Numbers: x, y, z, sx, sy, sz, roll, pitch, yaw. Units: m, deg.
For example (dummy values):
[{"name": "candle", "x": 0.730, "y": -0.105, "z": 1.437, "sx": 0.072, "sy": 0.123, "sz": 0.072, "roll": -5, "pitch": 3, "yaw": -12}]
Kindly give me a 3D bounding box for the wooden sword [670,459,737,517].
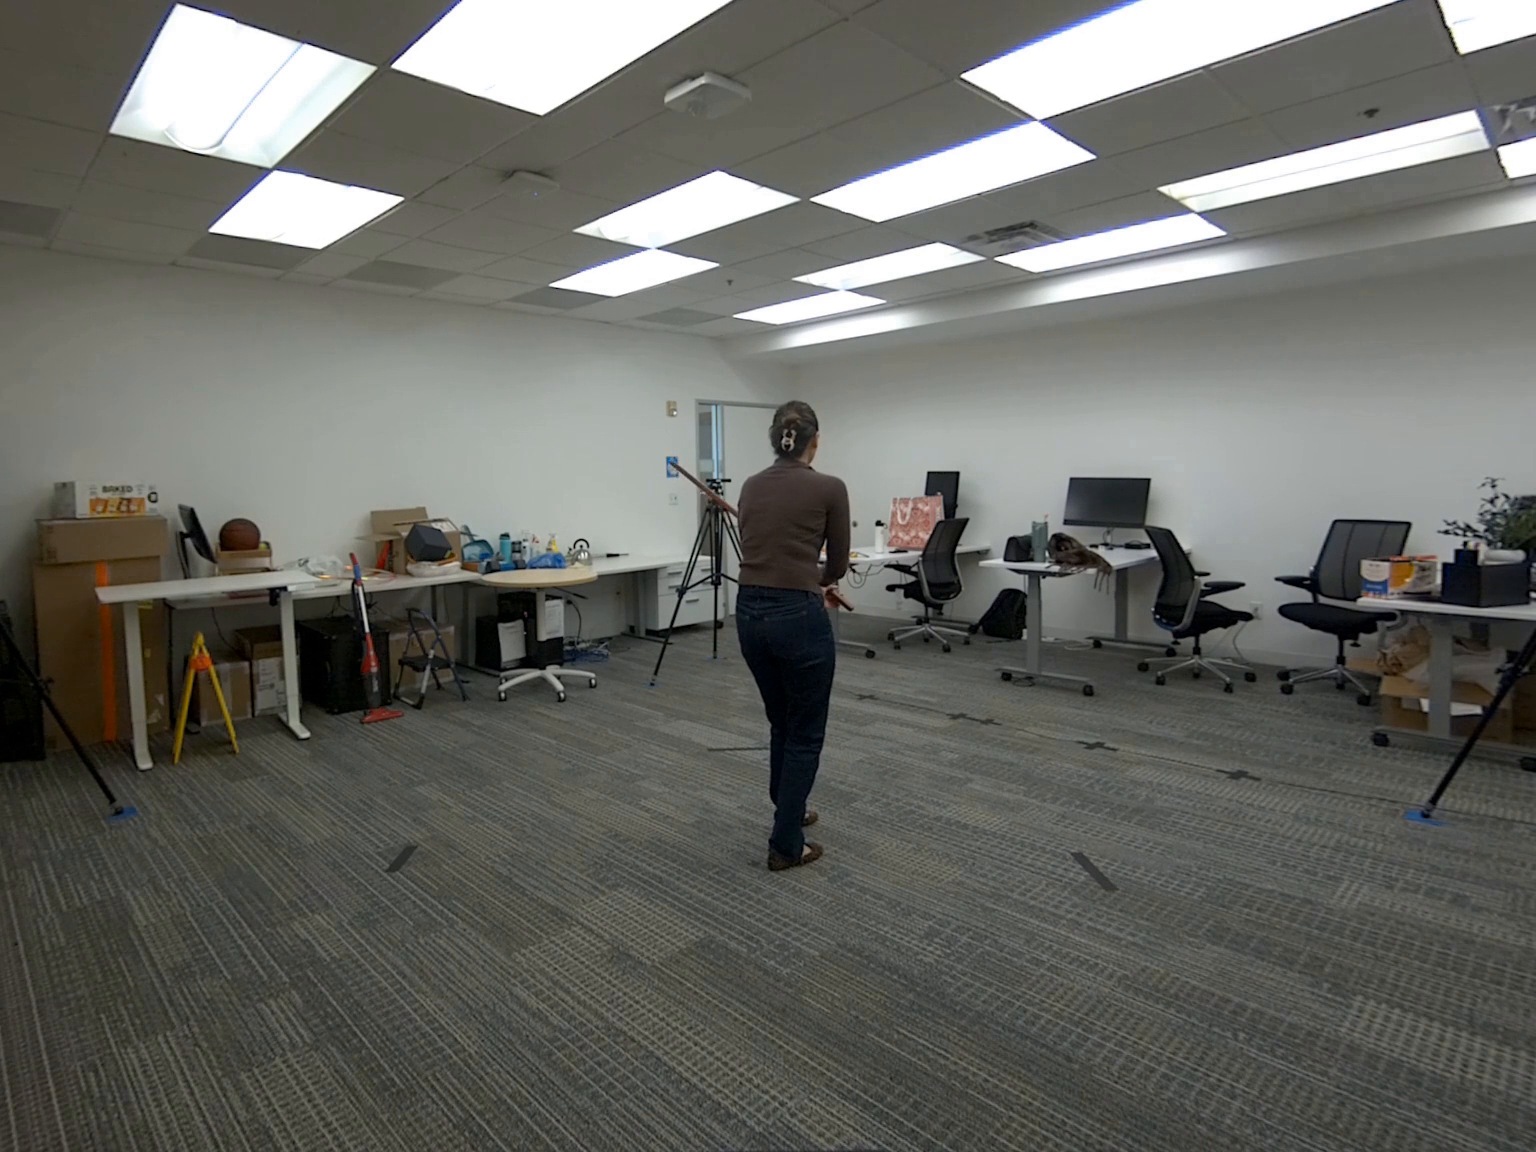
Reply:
[{"name": "wooden sword", "x": -0.053, "y": -0.178, "z": 3.533, "sx": 1.053, "sy": 0.024, "sz": 0.050, "roll": 41, "pitch": 3, "yaw": 22}]
